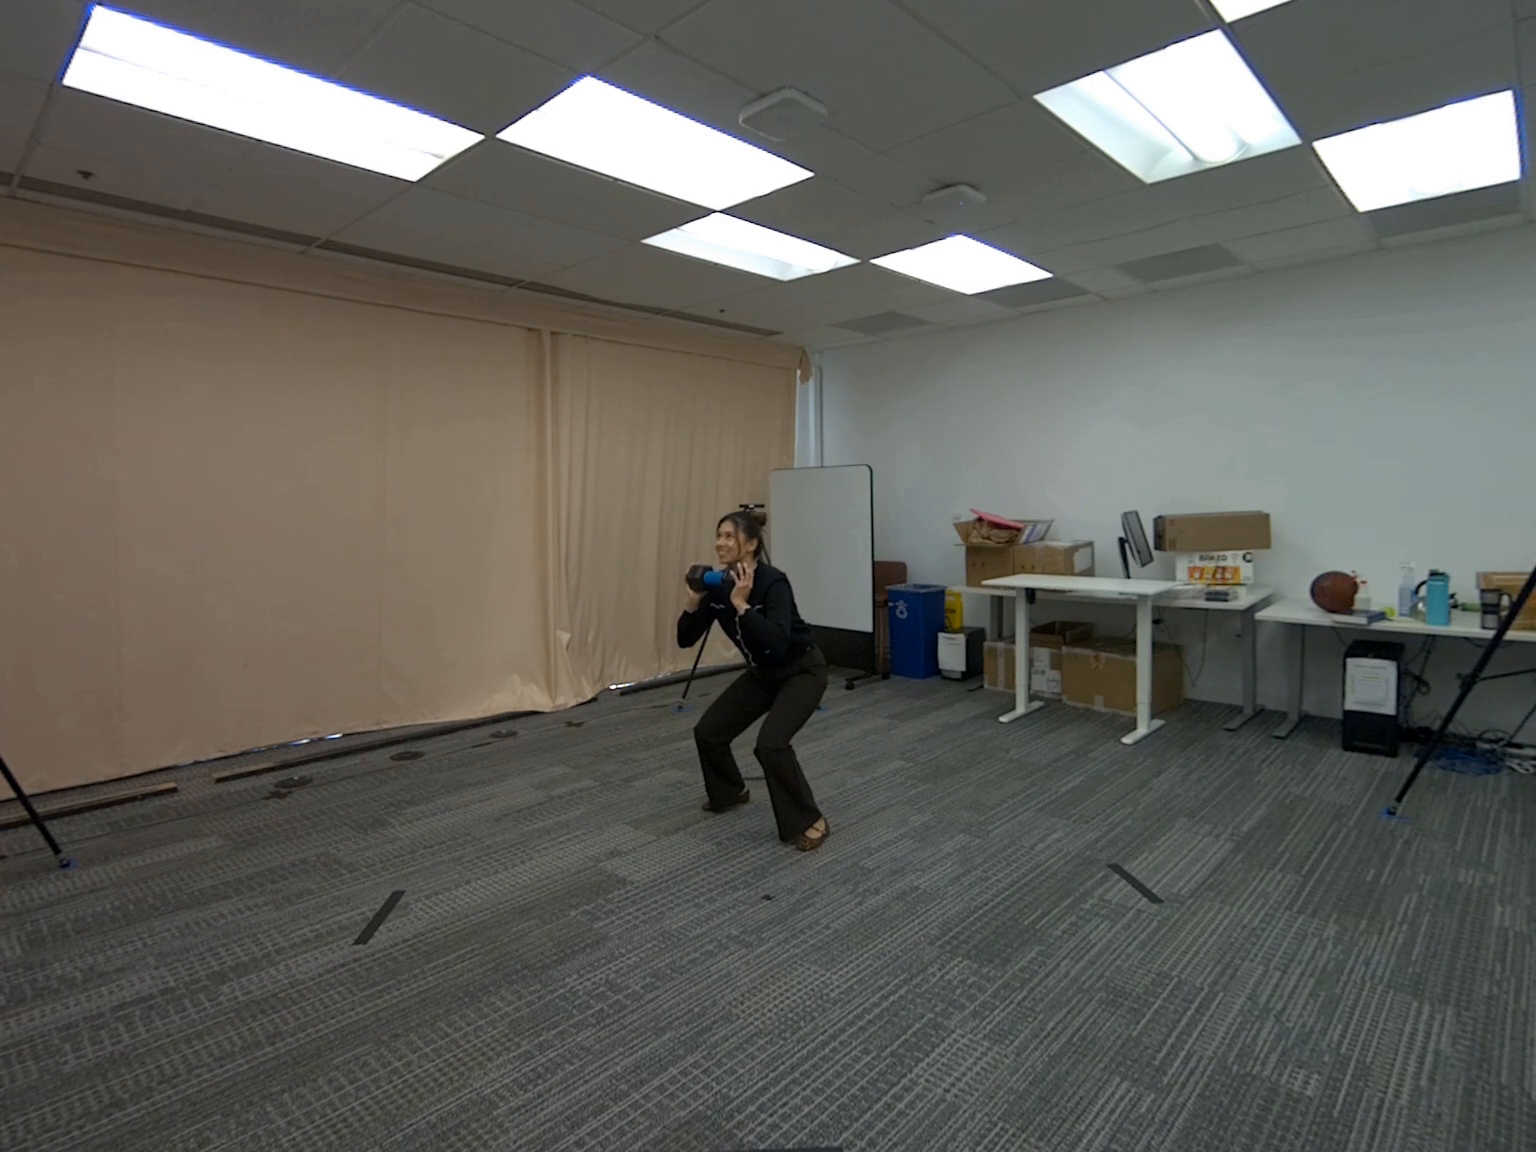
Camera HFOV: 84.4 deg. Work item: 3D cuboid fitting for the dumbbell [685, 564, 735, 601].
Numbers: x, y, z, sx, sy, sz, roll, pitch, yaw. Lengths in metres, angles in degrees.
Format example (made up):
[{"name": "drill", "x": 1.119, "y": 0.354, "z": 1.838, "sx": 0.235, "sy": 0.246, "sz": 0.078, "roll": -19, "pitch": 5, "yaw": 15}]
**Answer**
[{"name": "dumbbell", "x": -0.198, "y": 0.008, "z": 3.504, "sx": 0.303, "sy": 0.123, "sz": 0.105, "roll": 3, "pitch": -34, "yaw": 47}]
